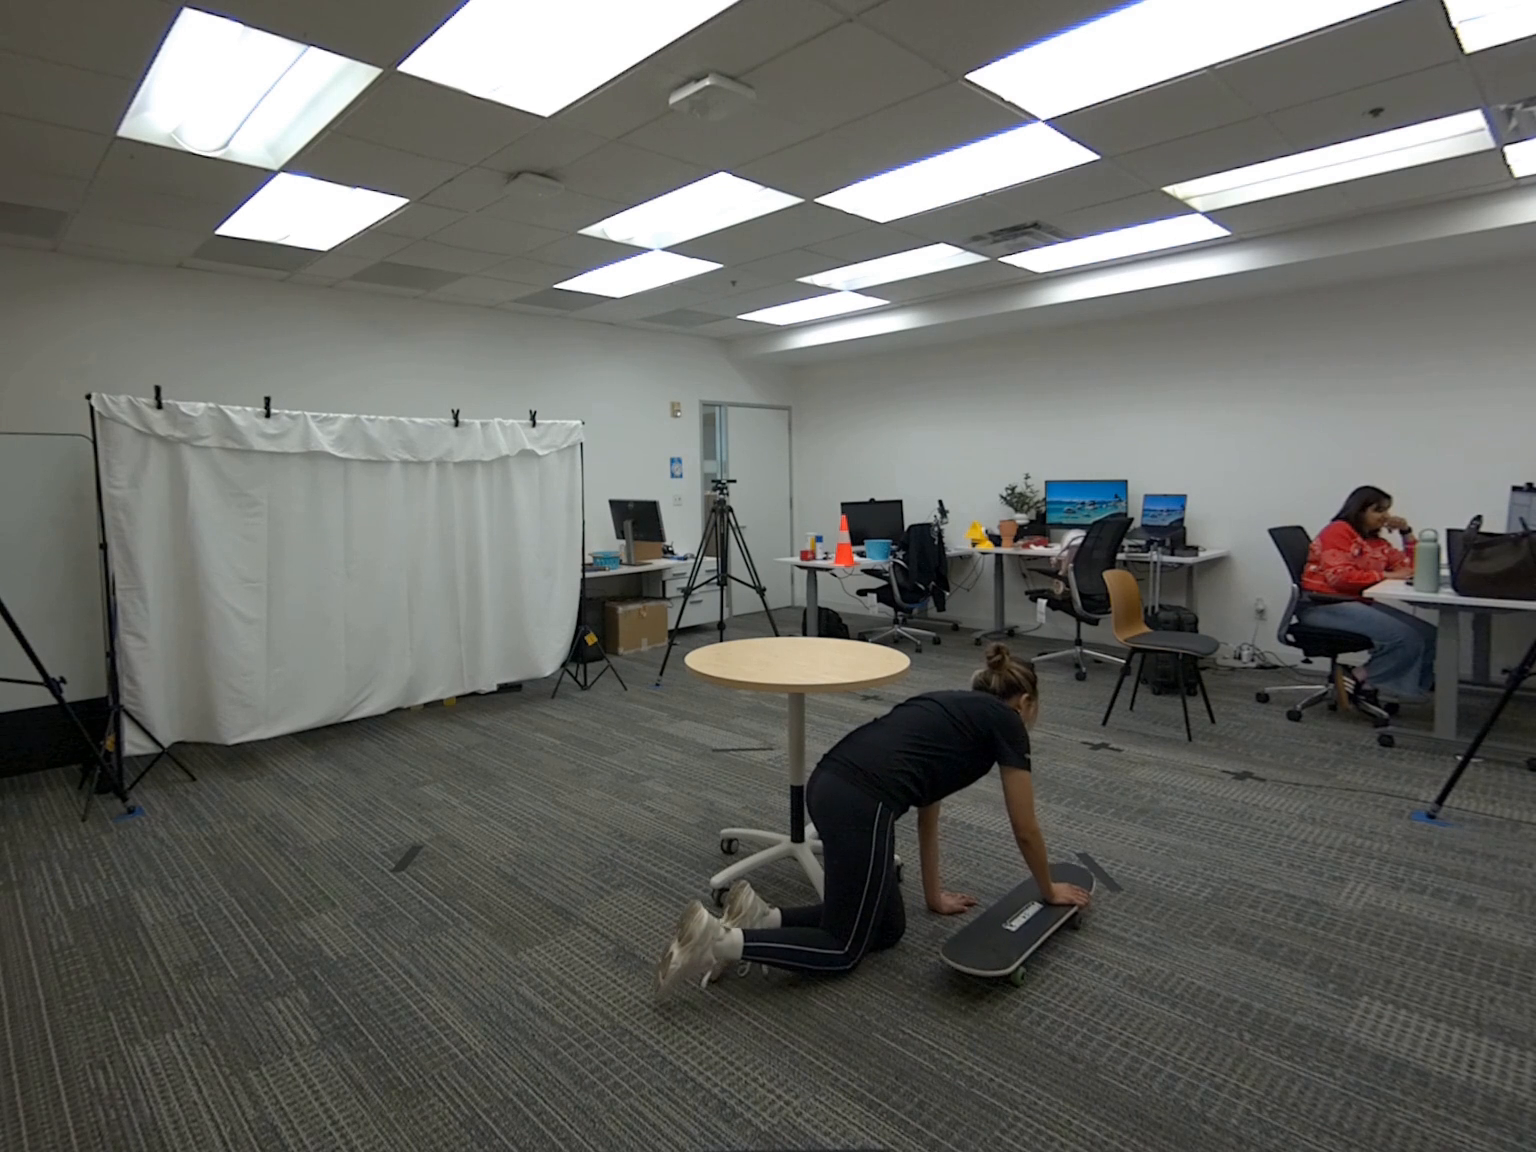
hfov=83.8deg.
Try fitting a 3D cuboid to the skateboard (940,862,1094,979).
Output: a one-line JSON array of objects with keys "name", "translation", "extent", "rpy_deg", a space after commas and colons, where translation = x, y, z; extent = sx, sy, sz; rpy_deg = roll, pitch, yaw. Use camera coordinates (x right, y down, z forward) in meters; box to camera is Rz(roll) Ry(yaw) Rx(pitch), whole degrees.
[{"name": "skateboard", "translation": [0.754, 1.029, 2.549], "extent": [0.199, 0.110, 0.765], "rpy_deg": [5, 9, 43]}]
